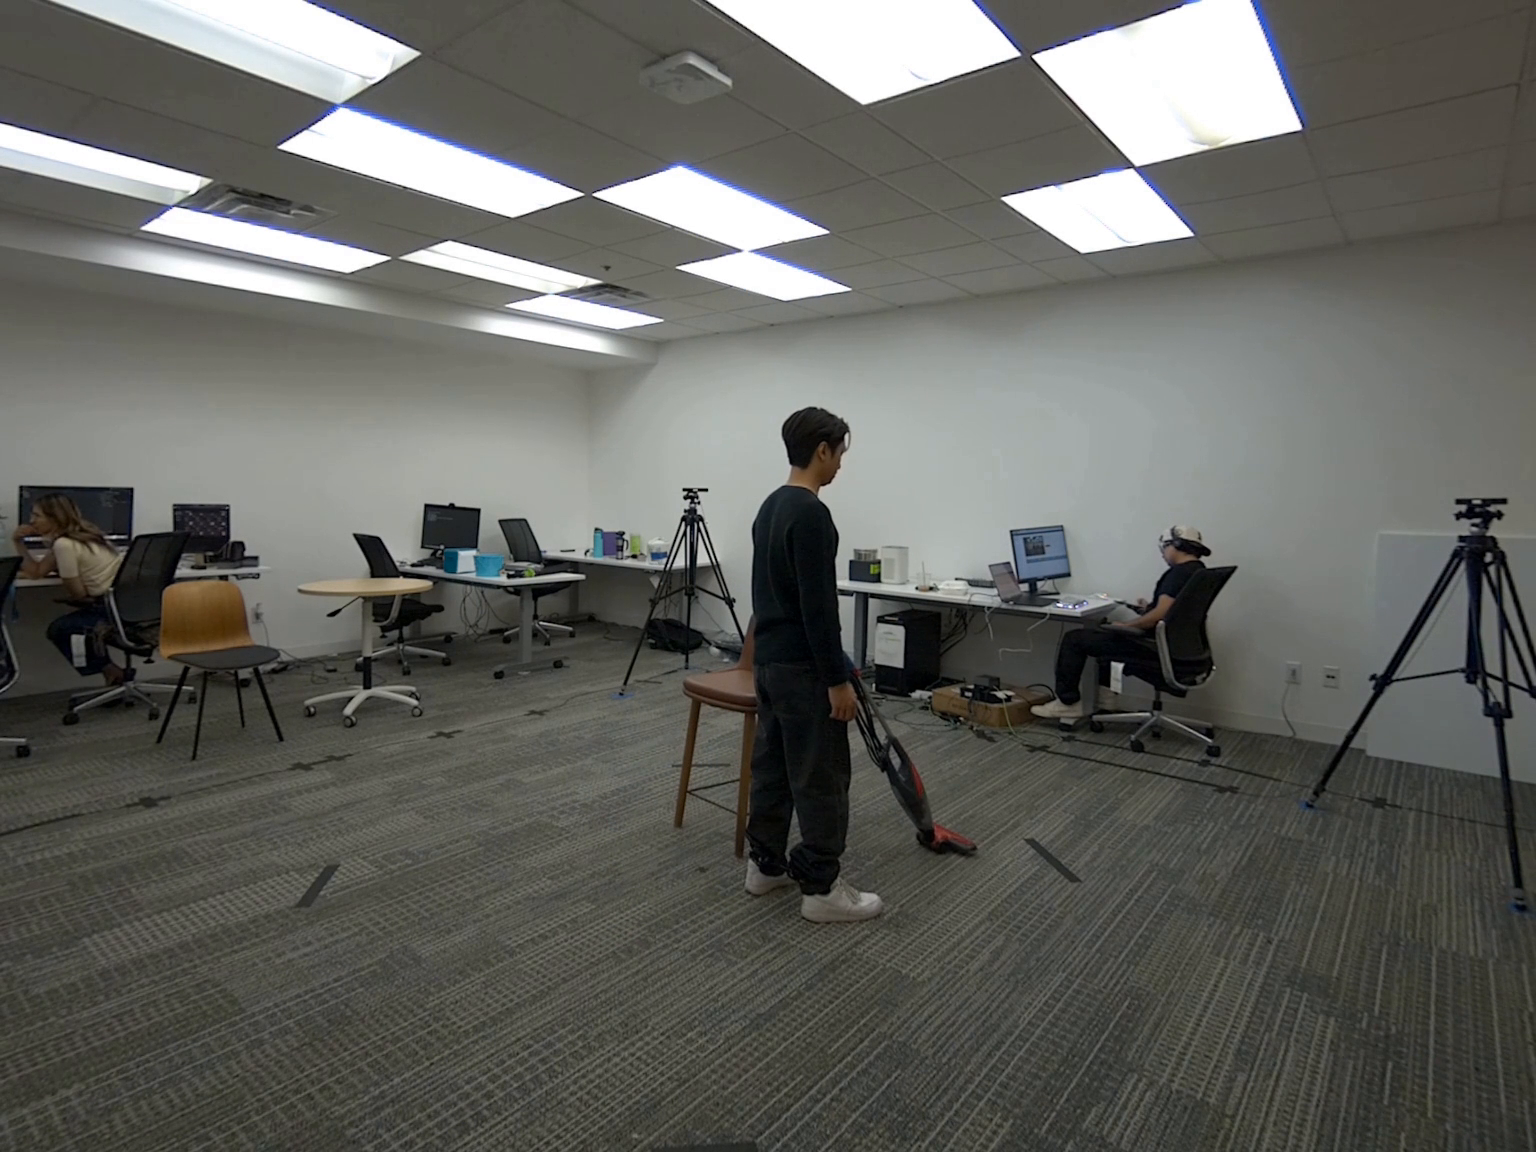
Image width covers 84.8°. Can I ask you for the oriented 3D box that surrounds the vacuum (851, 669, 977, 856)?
[{"bbox_3d":[0.437,0.639,3.209,0.143,1.024,0.260,-39,20,-23],"label":"vacuum"}]
